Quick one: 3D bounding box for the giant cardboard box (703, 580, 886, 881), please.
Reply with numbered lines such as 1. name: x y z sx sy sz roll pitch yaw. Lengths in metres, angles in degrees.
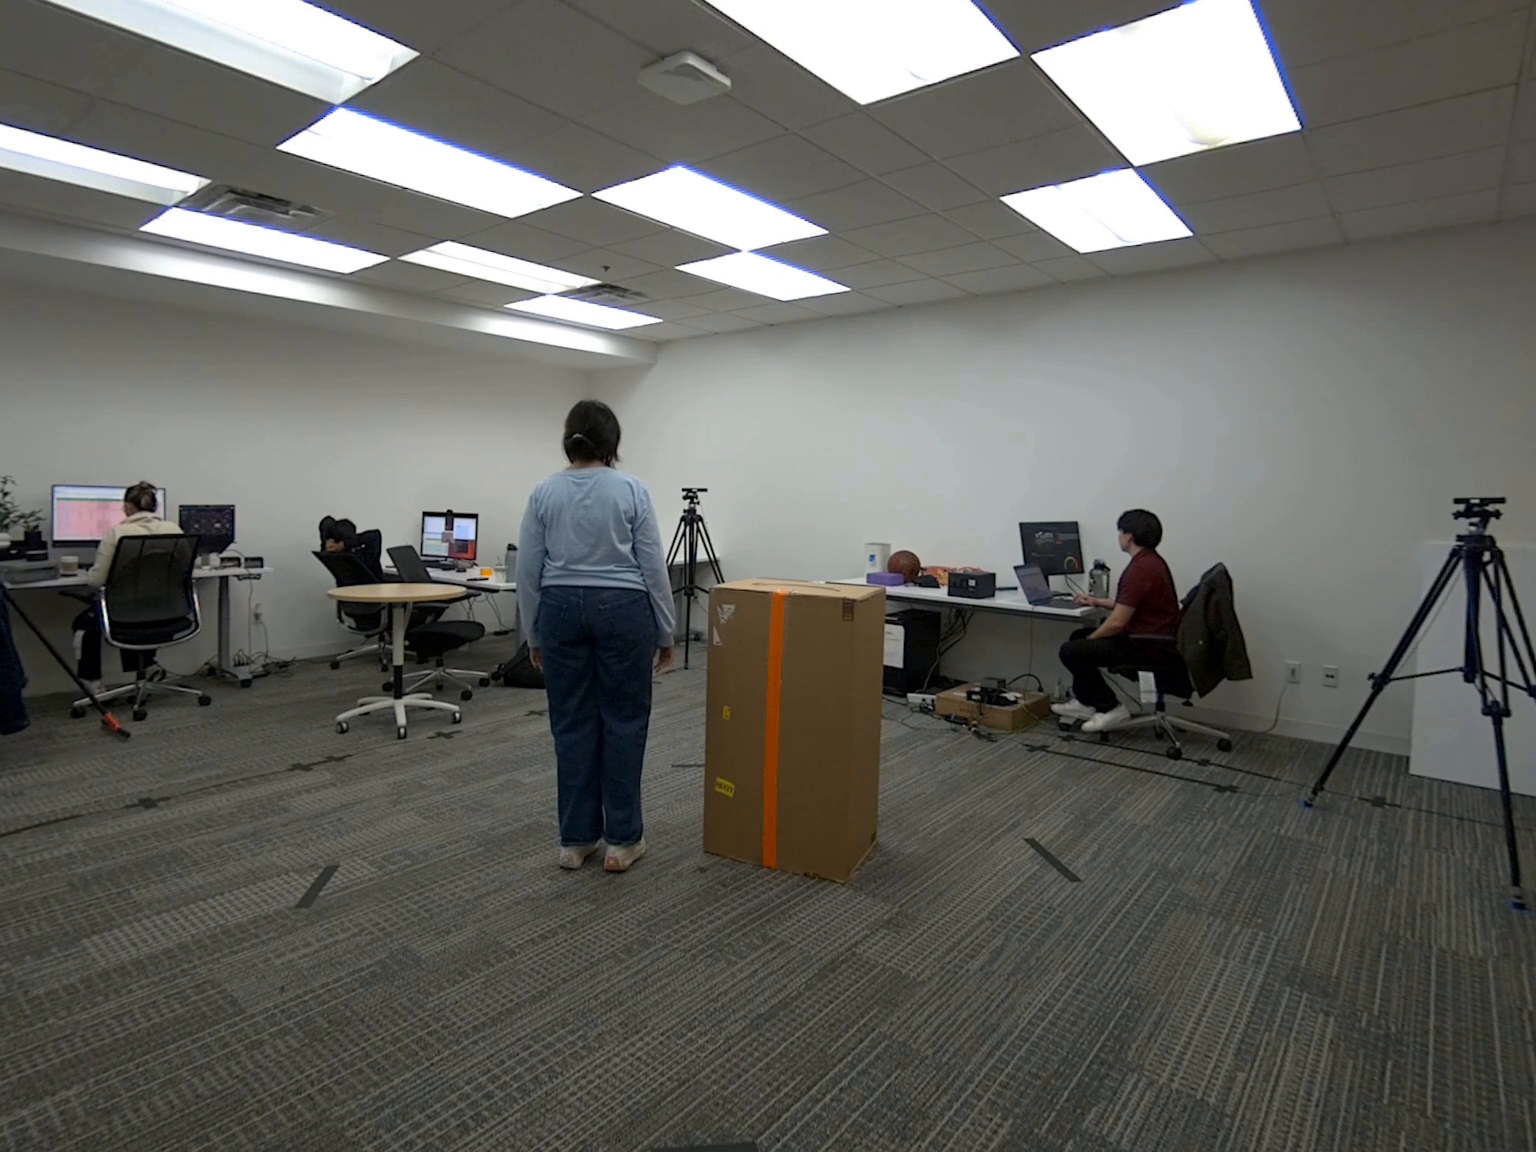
1. giant cardboard box: 0.101 0.551 3.295 0.599 1.025 0.436 3 3 24
